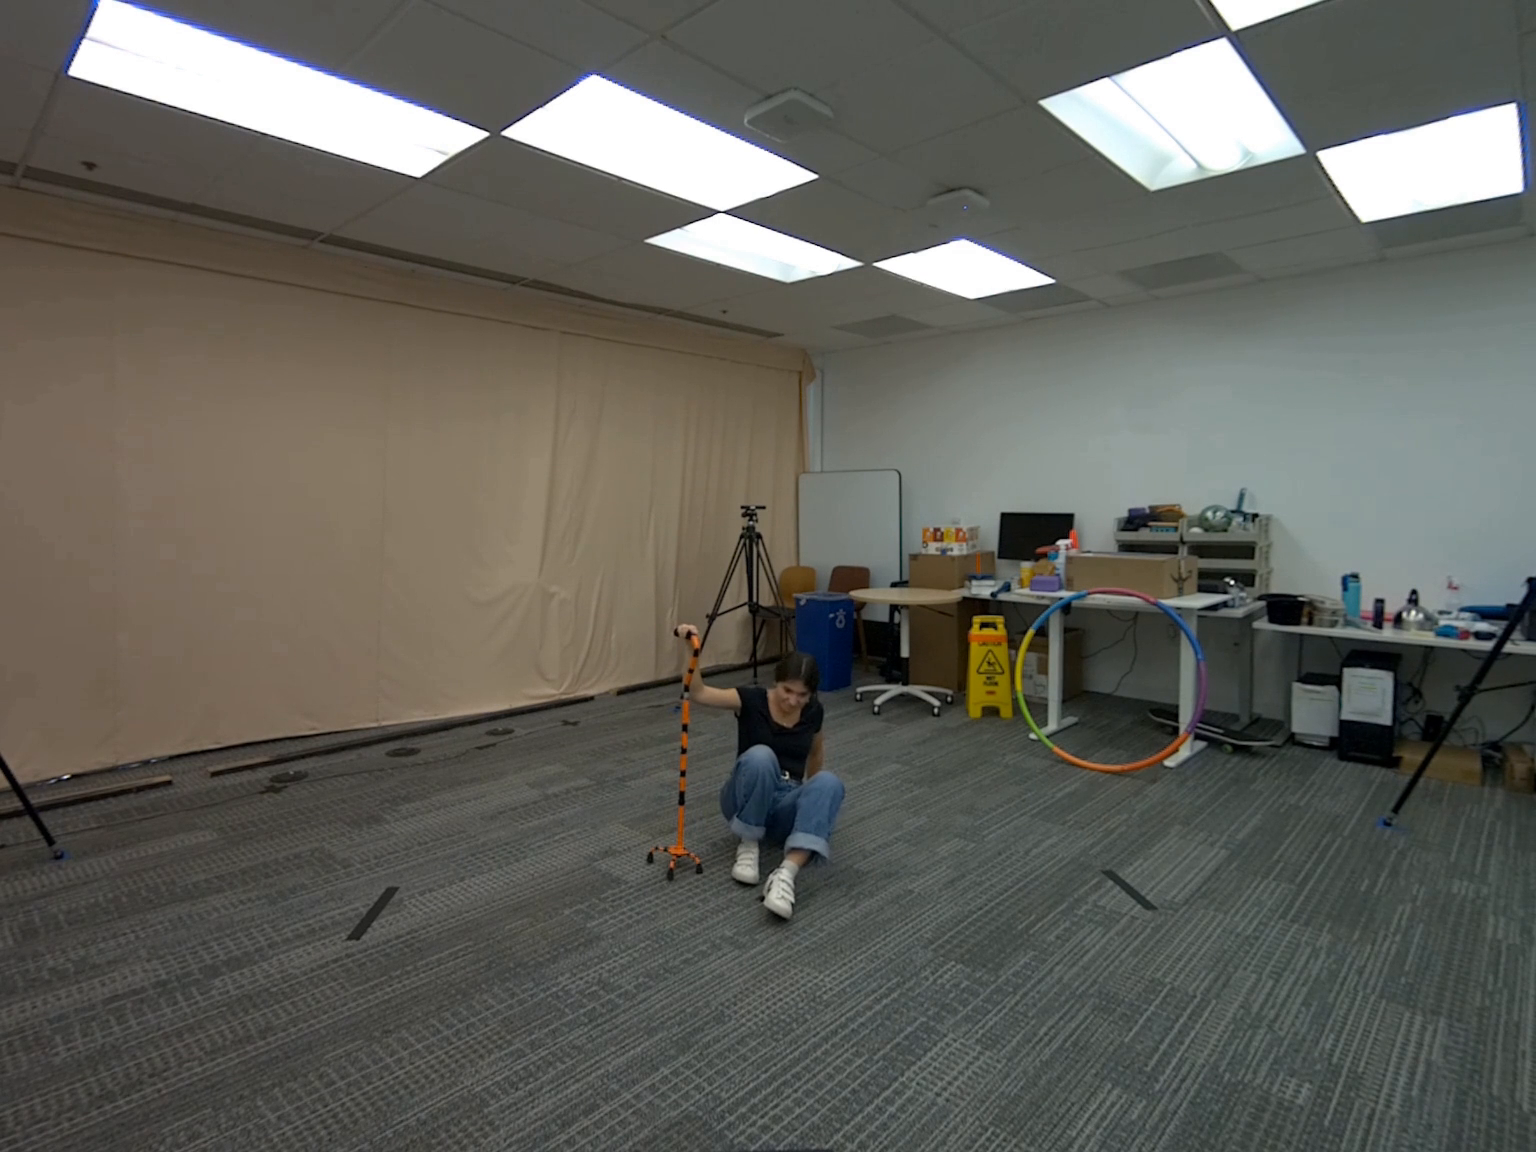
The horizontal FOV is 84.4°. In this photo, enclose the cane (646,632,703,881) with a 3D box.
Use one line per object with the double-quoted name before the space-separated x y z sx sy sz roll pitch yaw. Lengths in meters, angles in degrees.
"cane" -0.337 0.667 3.244 0.147 0.907 0.212 3 1 -32
